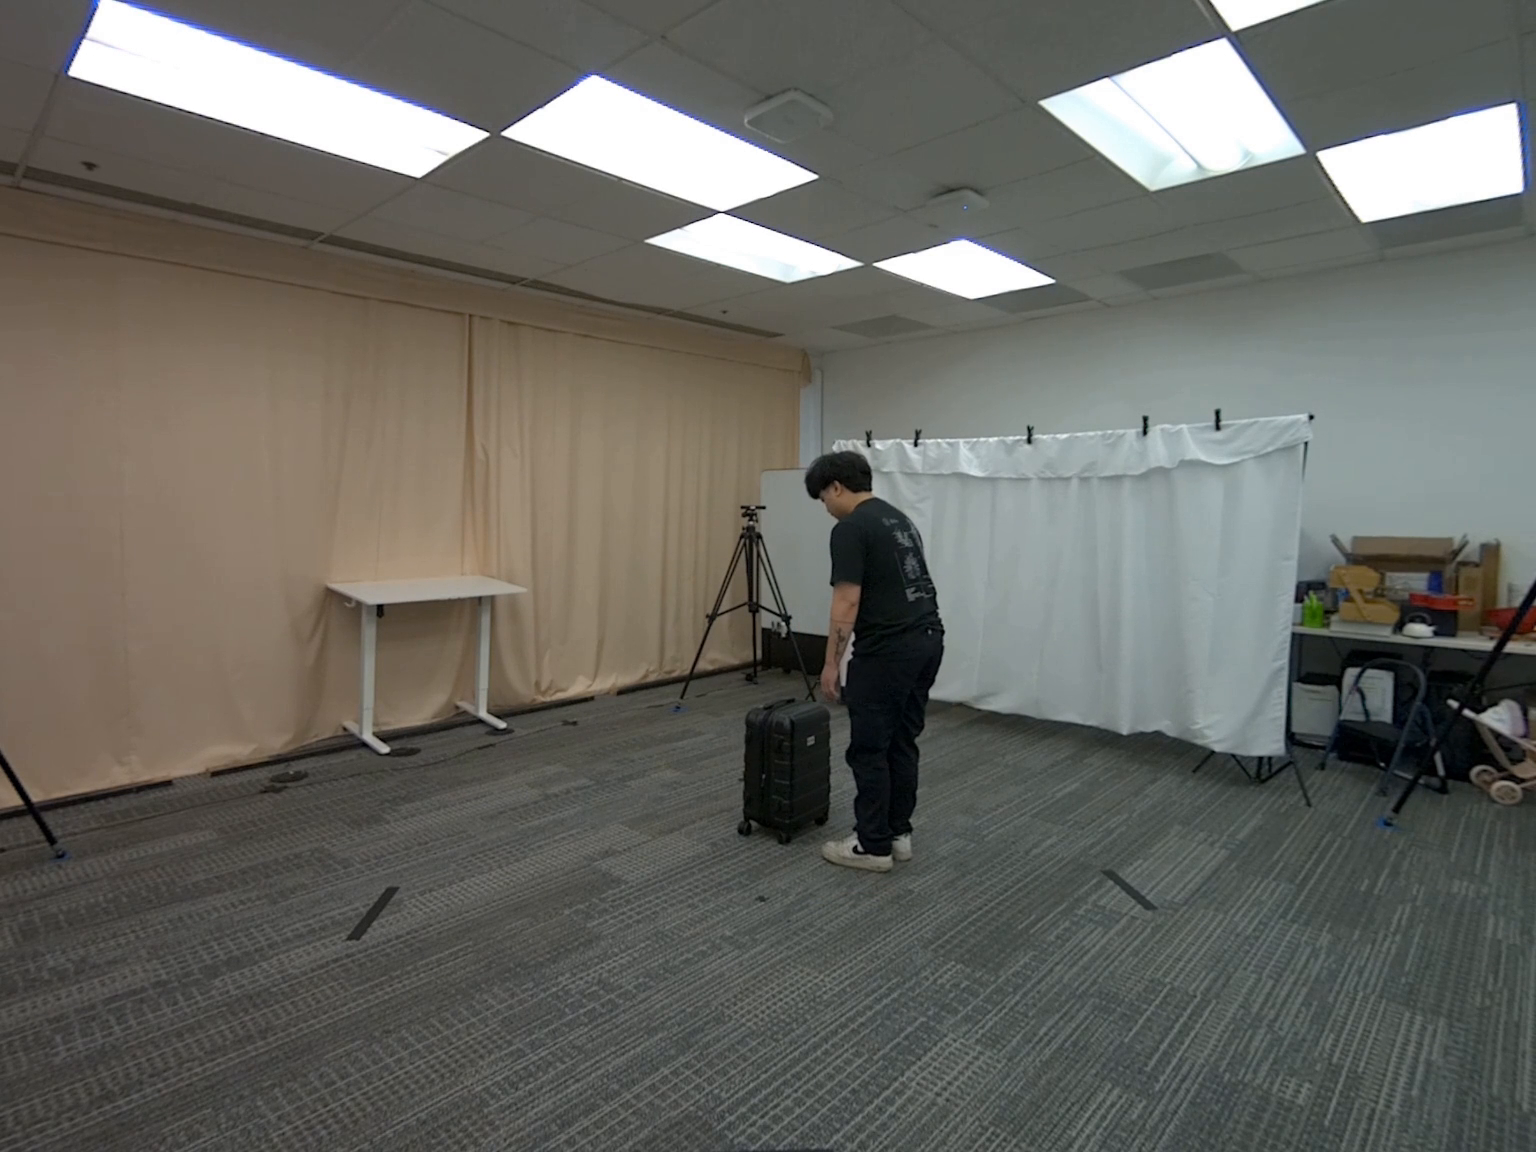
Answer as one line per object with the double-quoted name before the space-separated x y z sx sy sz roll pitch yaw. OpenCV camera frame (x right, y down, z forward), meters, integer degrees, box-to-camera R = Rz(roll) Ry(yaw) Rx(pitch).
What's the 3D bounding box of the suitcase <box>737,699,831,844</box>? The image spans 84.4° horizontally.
"suitcase" 0.084 0.815 3.627 0.256 0.548 0.364 4 4 38
